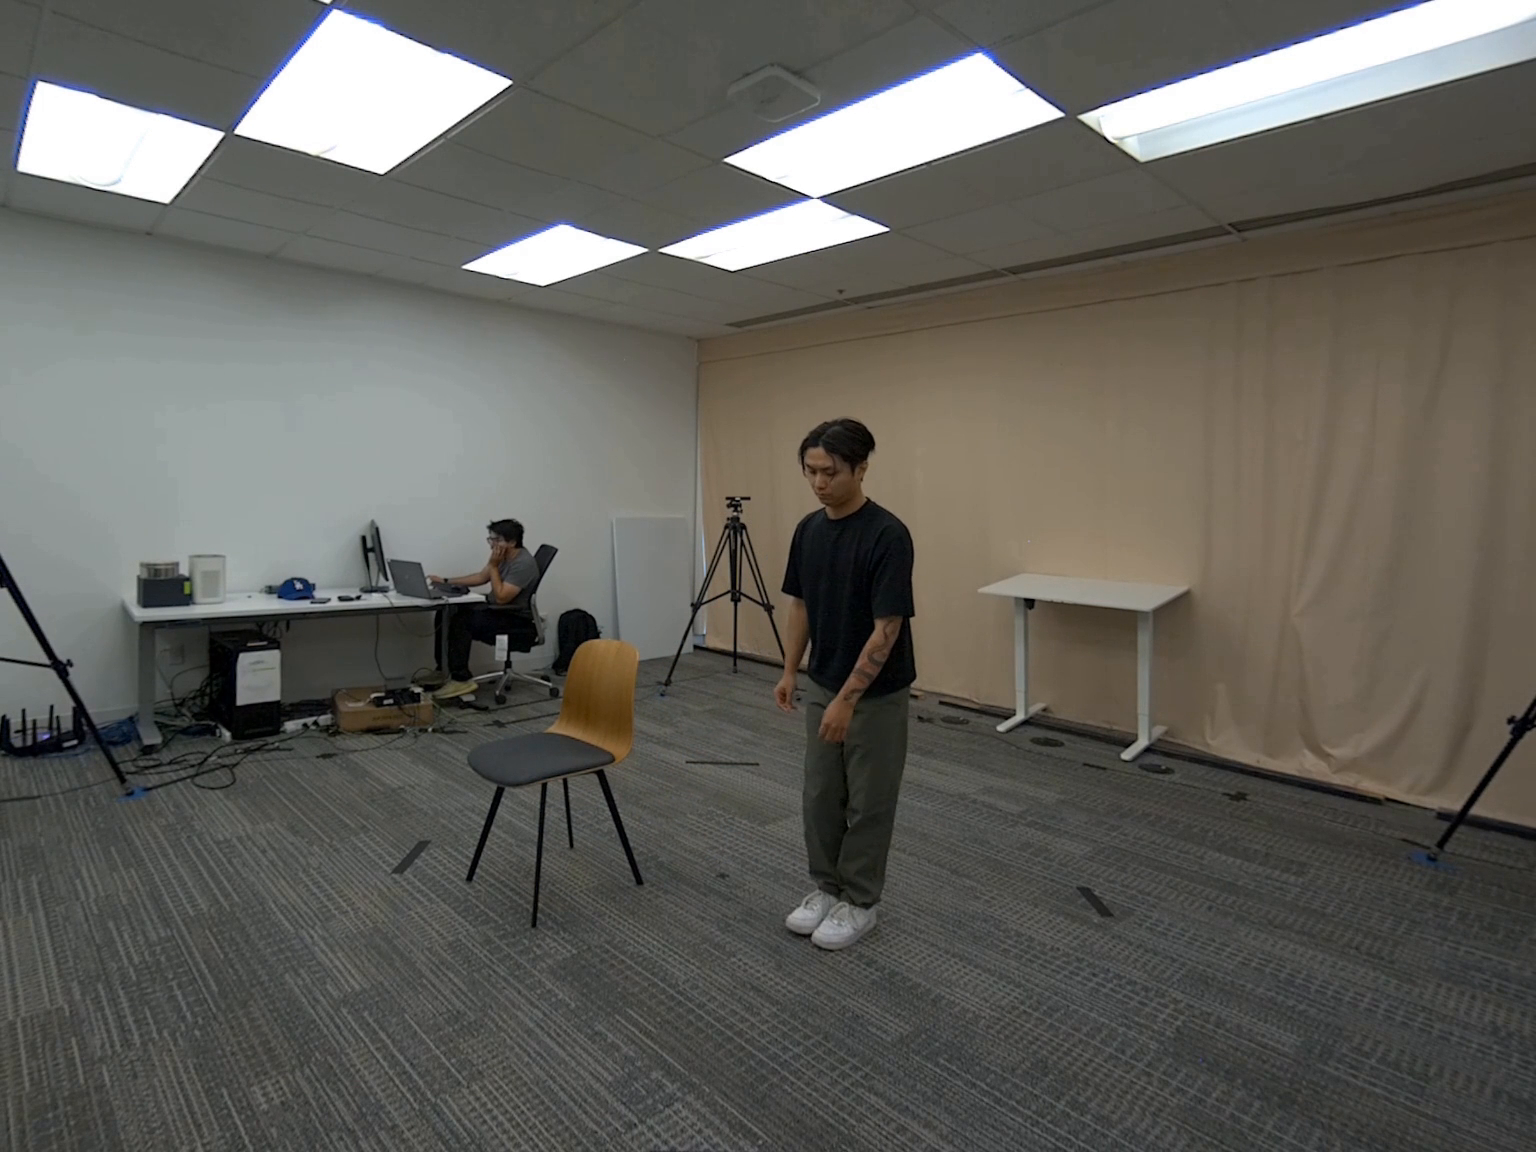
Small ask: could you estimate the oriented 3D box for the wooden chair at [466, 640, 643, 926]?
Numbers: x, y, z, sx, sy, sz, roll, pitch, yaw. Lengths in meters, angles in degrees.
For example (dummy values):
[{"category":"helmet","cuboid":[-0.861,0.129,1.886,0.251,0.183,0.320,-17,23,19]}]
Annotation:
[{"category":"wooden chair","cuboid":[-0.767,0.679,2.980,0.490,0.877,0.510,5,1,44]}]
